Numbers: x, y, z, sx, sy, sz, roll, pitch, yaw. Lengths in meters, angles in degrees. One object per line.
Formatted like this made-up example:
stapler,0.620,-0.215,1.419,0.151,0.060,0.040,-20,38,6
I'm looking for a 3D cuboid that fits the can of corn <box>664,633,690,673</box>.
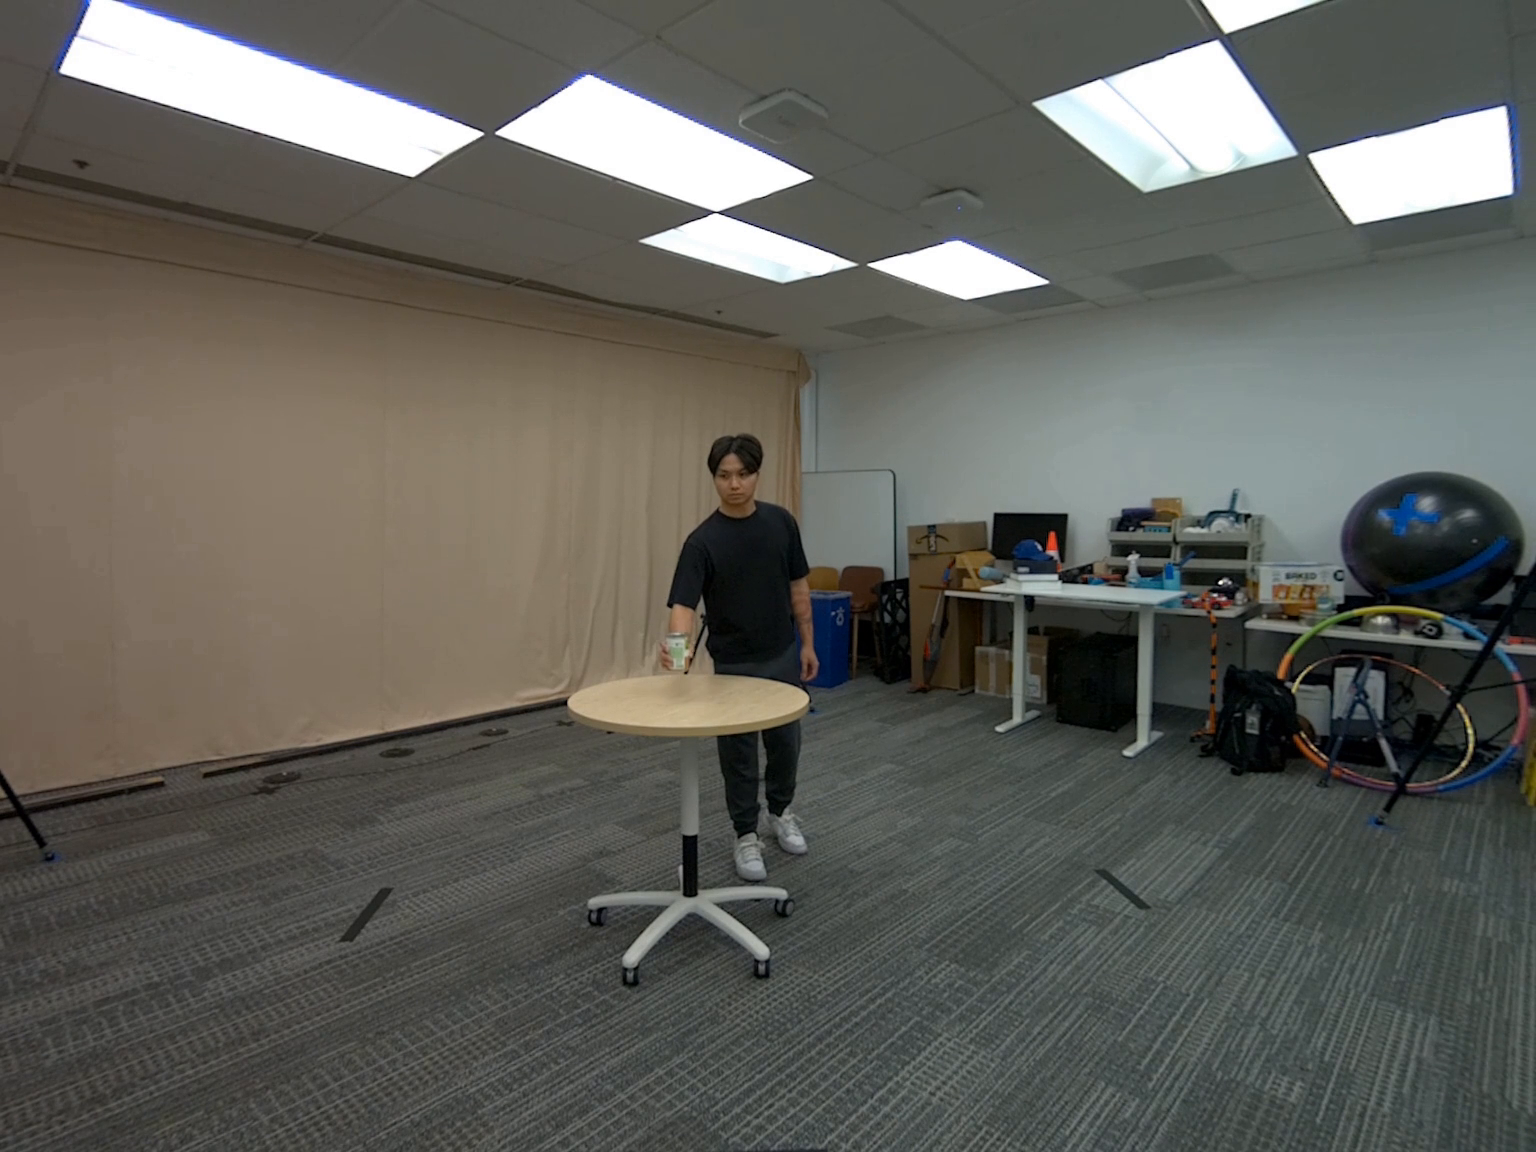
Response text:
can of corn,-0.278,0.238,2.671,0.074,0.111,0.074,-5,3,-2
